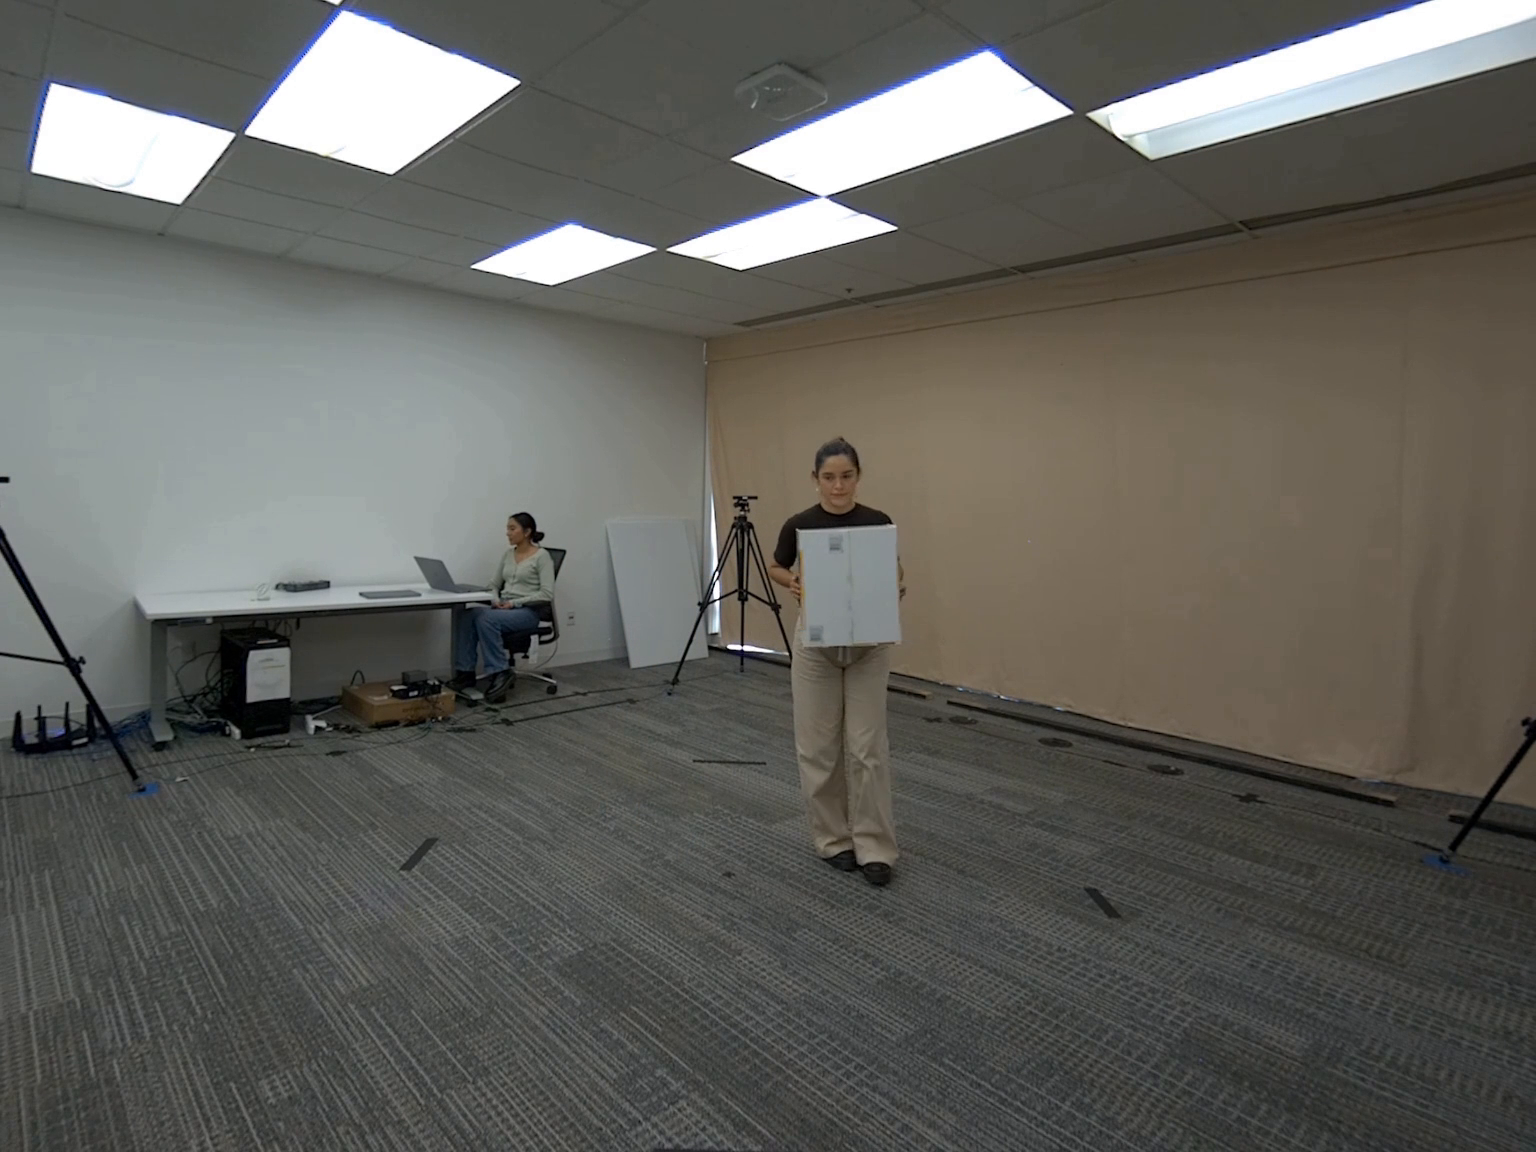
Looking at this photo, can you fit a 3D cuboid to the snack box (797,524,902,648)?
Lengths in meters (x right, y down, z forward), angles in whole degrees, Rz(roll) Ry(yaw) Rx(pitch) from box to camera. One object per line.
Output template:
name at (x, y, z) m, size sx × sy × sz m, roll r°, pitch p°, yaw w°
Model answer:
snack box at (0.274, 0.029, 2.981) m, size 0.340 × 0.404 × 0.206 m, roll -3°, pitch 3°, yaw 1°
